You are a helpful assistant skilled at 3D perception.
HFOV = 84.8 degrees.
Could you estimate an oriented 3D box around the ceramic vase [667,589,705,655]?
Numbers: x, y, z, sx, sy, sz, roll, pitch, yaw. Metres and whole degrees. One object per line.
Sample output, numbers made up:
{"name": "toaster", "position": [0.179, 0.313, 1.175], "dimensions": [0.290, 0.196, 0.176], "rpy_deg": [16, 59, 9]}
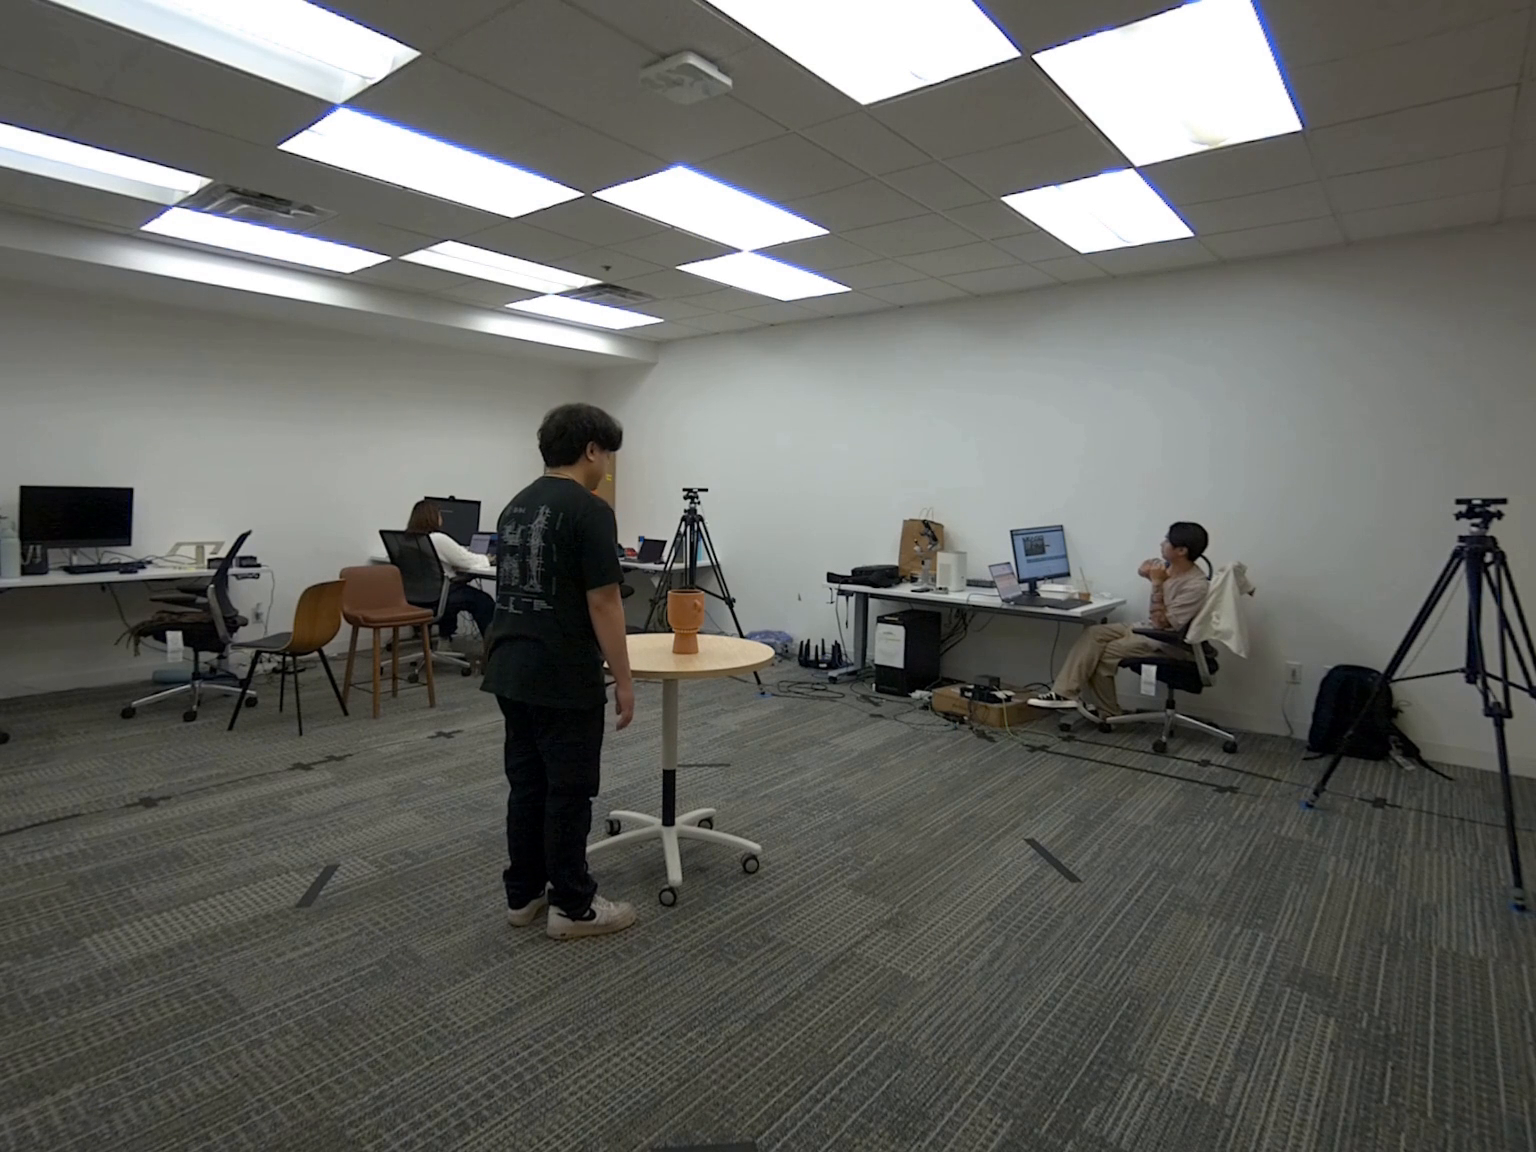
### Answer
{"name": "ceramic vase", "position": [-0.311, 0.166, 3.098], "dimensions": [0.155, 0.219, 0.138], "rpy_deg": [-2, 3, -29]}
